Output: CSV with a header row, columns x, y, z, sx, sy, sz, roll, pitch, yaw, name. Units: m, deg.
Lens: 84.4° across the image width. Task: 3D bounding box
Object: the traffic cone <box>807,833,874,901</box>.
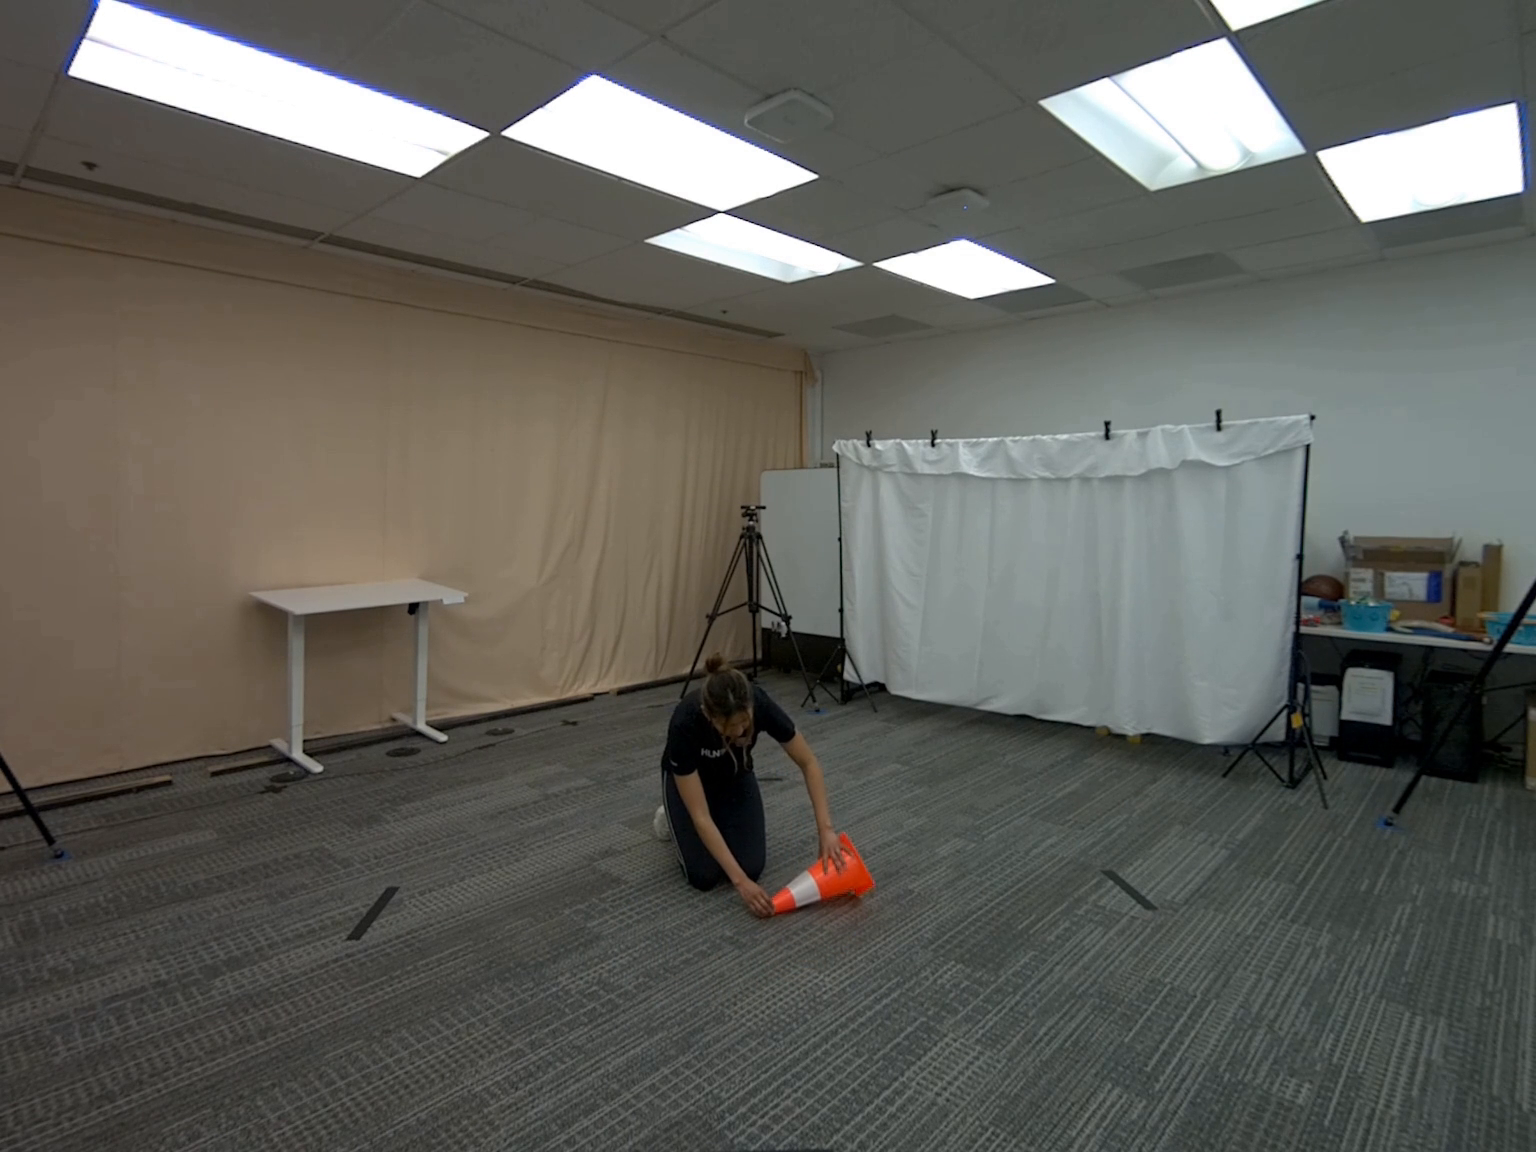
x,y,z,sx,sy,sz,roll,pitch,yaw,name
0.139,1.089,2.915,0.378,0.210,0.201,-22,-27,-19,traffic cone
